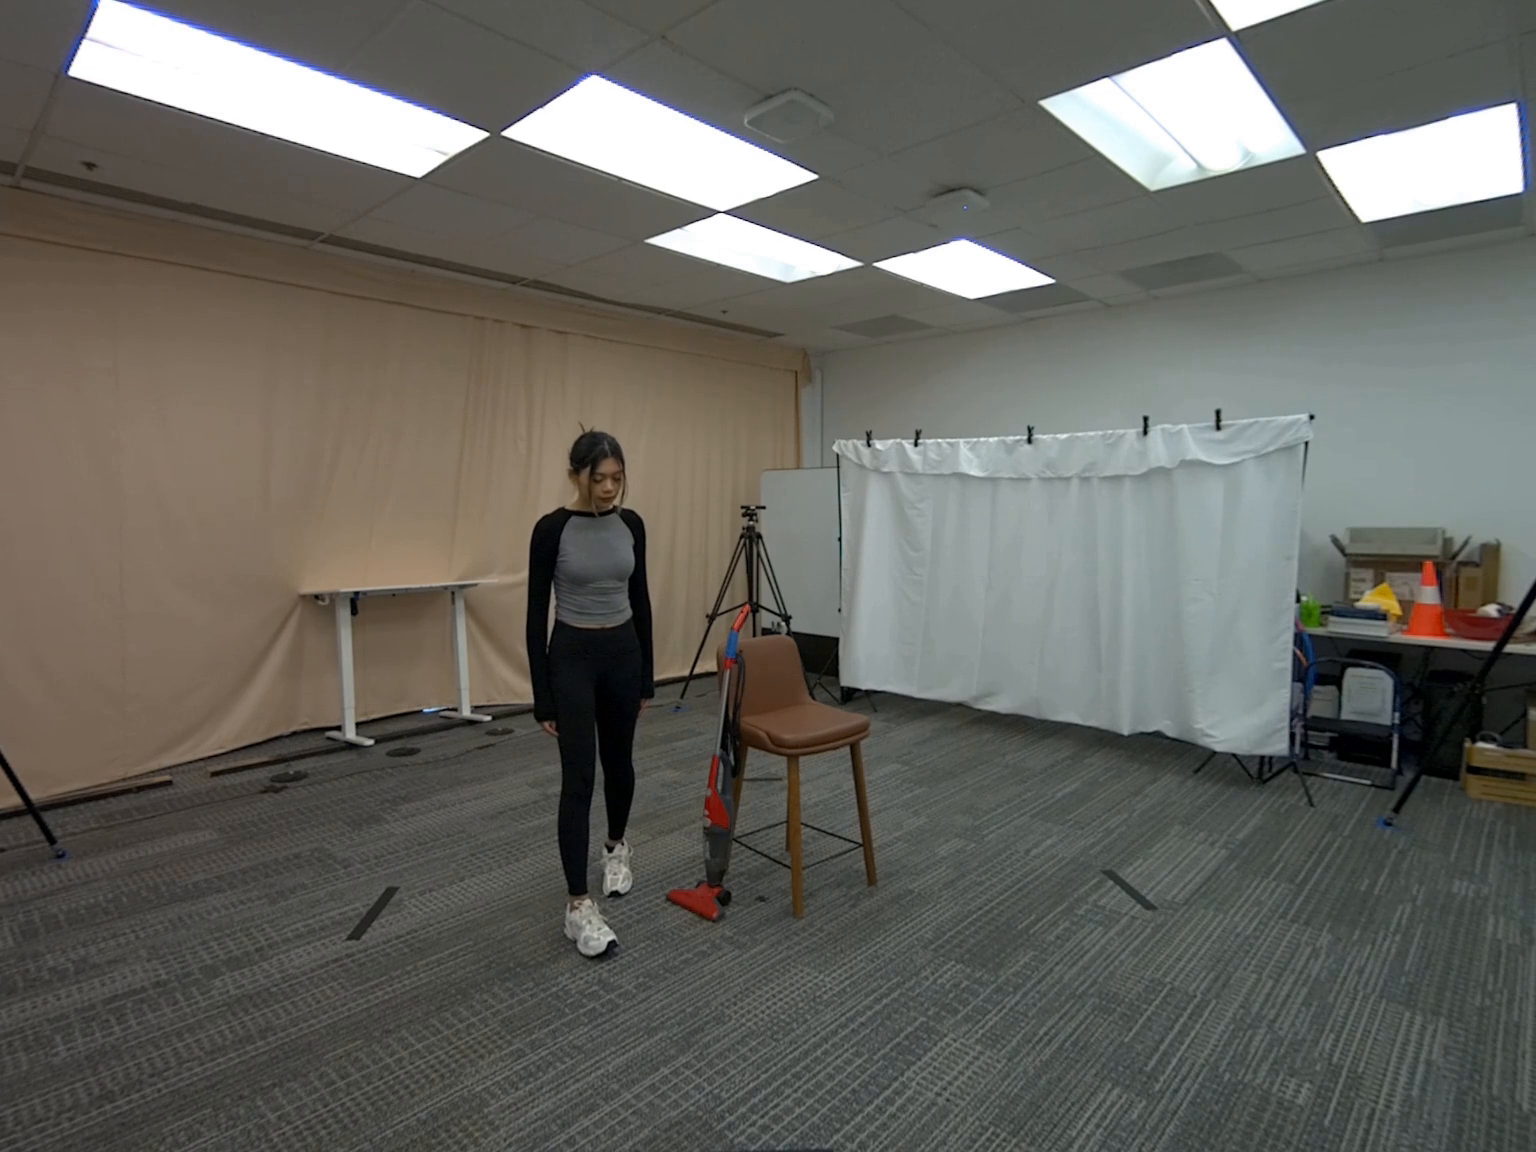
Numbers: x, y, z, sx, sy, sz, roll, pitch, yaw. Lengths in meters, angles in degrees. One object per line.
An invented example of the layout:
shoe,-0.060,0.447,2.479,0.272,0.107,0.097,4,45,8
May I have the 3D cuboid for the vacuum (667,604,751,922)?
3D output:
vacuum,-0.145,0.634,3.010,0.139,1.052,0.260,14,-8,-38
